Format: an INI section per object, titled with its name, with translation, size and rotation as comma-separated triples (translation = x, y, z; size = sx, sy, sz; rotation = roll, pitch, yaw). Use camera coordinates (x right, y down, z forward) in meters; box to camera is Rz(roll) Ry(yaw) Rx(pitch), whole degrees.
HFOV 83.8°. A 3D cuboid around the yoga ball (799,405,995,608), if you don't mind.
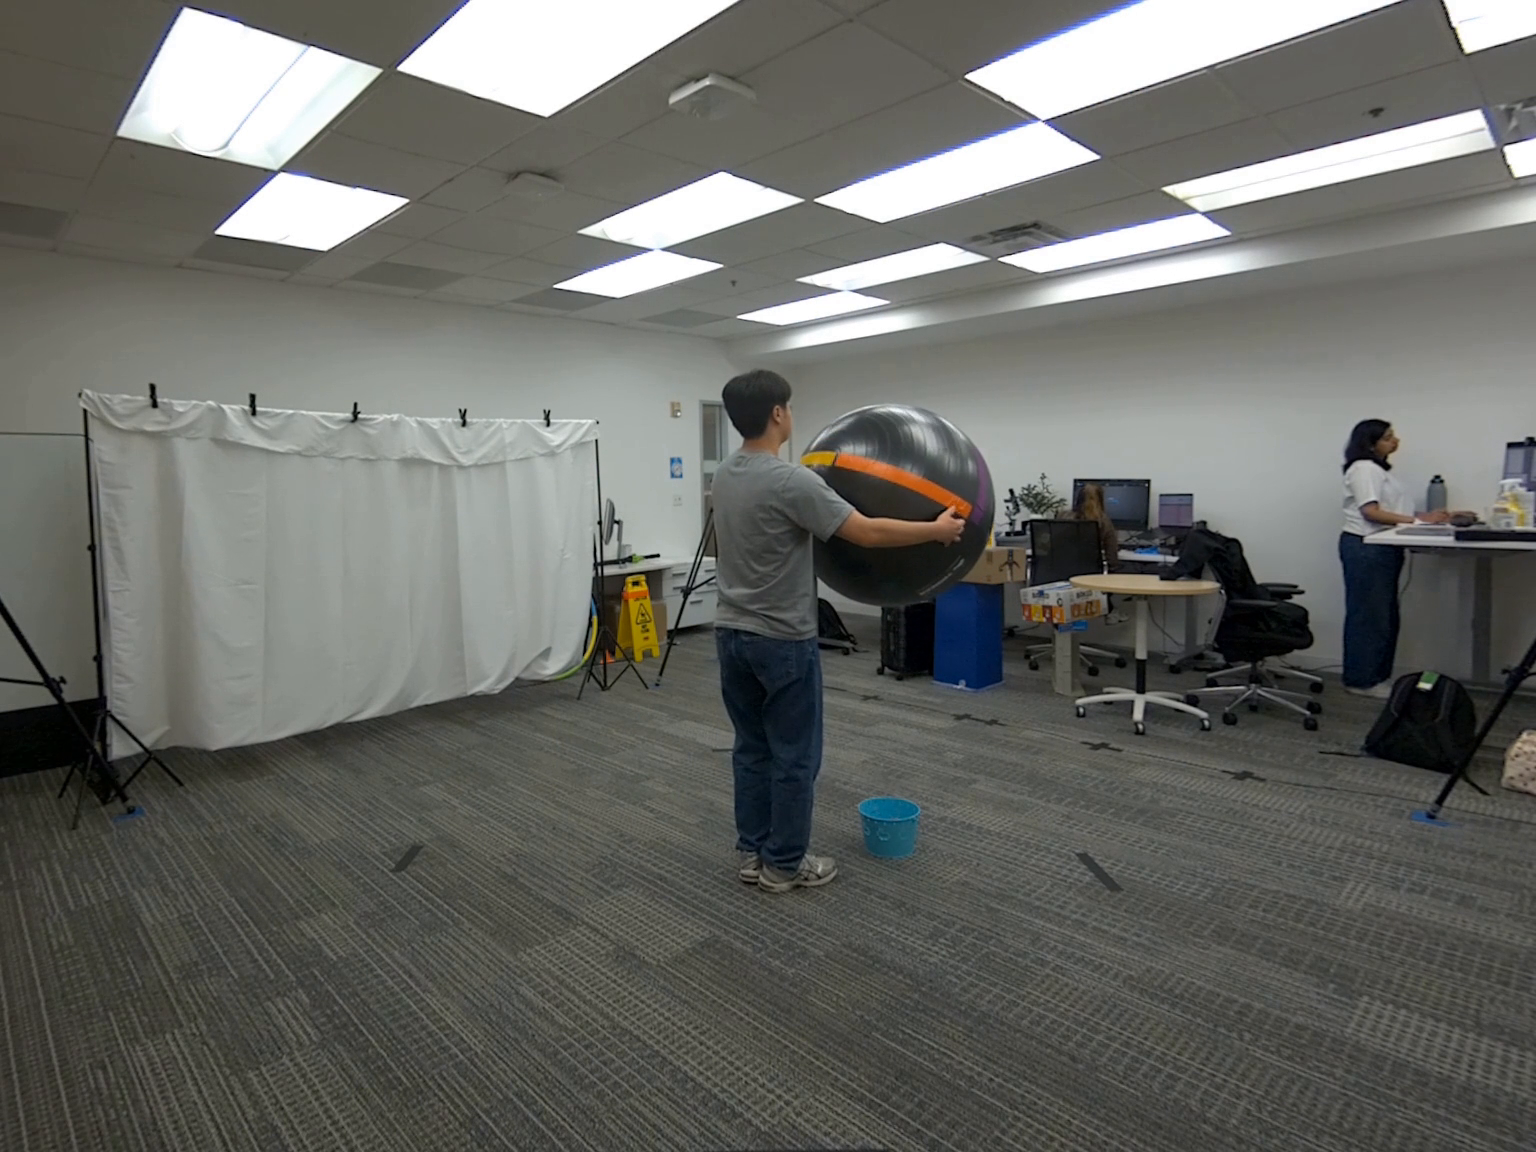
[yoga ball]
translation = 0.461, -0.255, 3.218
size = 0.757, 0.755, 0.762
rotation = -1, 5, -2
